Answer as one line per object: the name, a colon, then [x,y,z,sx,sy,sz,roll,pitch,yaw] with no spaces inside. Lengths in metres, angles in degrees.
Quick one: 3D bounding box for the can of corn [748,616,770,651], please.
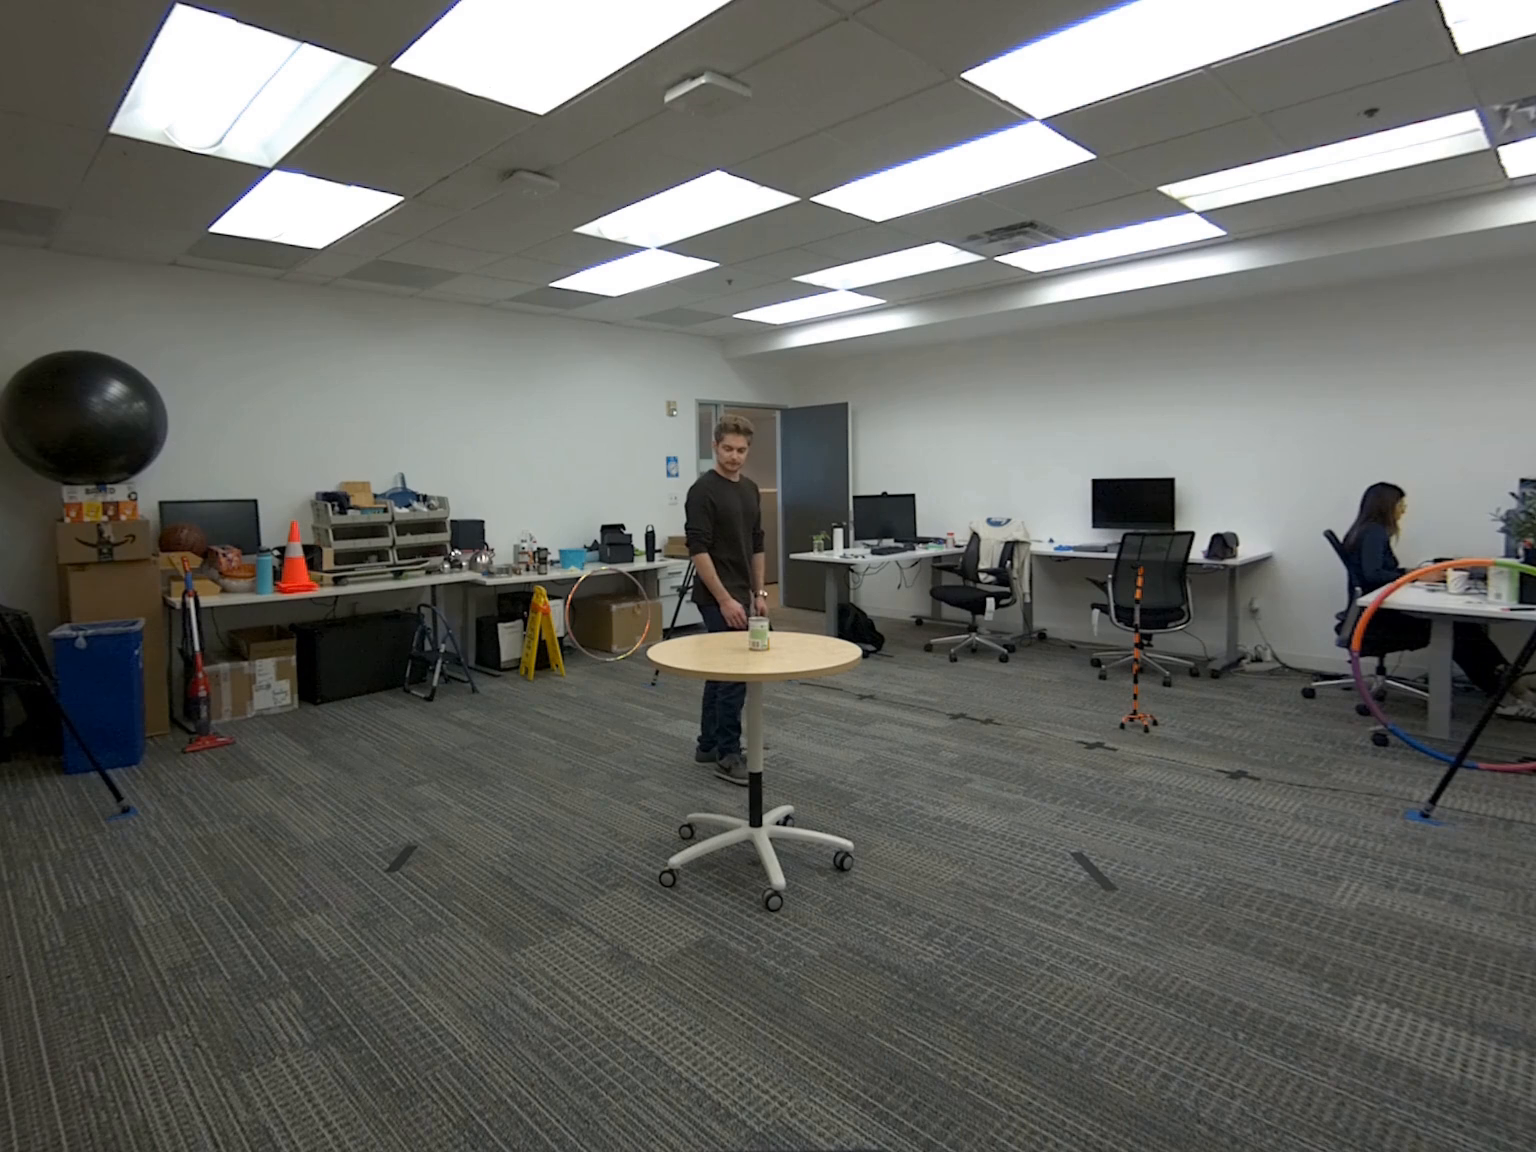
can of corn: [-0.034,0.210,3.065,0.074,0.110,0.074,-1,5,-2]
